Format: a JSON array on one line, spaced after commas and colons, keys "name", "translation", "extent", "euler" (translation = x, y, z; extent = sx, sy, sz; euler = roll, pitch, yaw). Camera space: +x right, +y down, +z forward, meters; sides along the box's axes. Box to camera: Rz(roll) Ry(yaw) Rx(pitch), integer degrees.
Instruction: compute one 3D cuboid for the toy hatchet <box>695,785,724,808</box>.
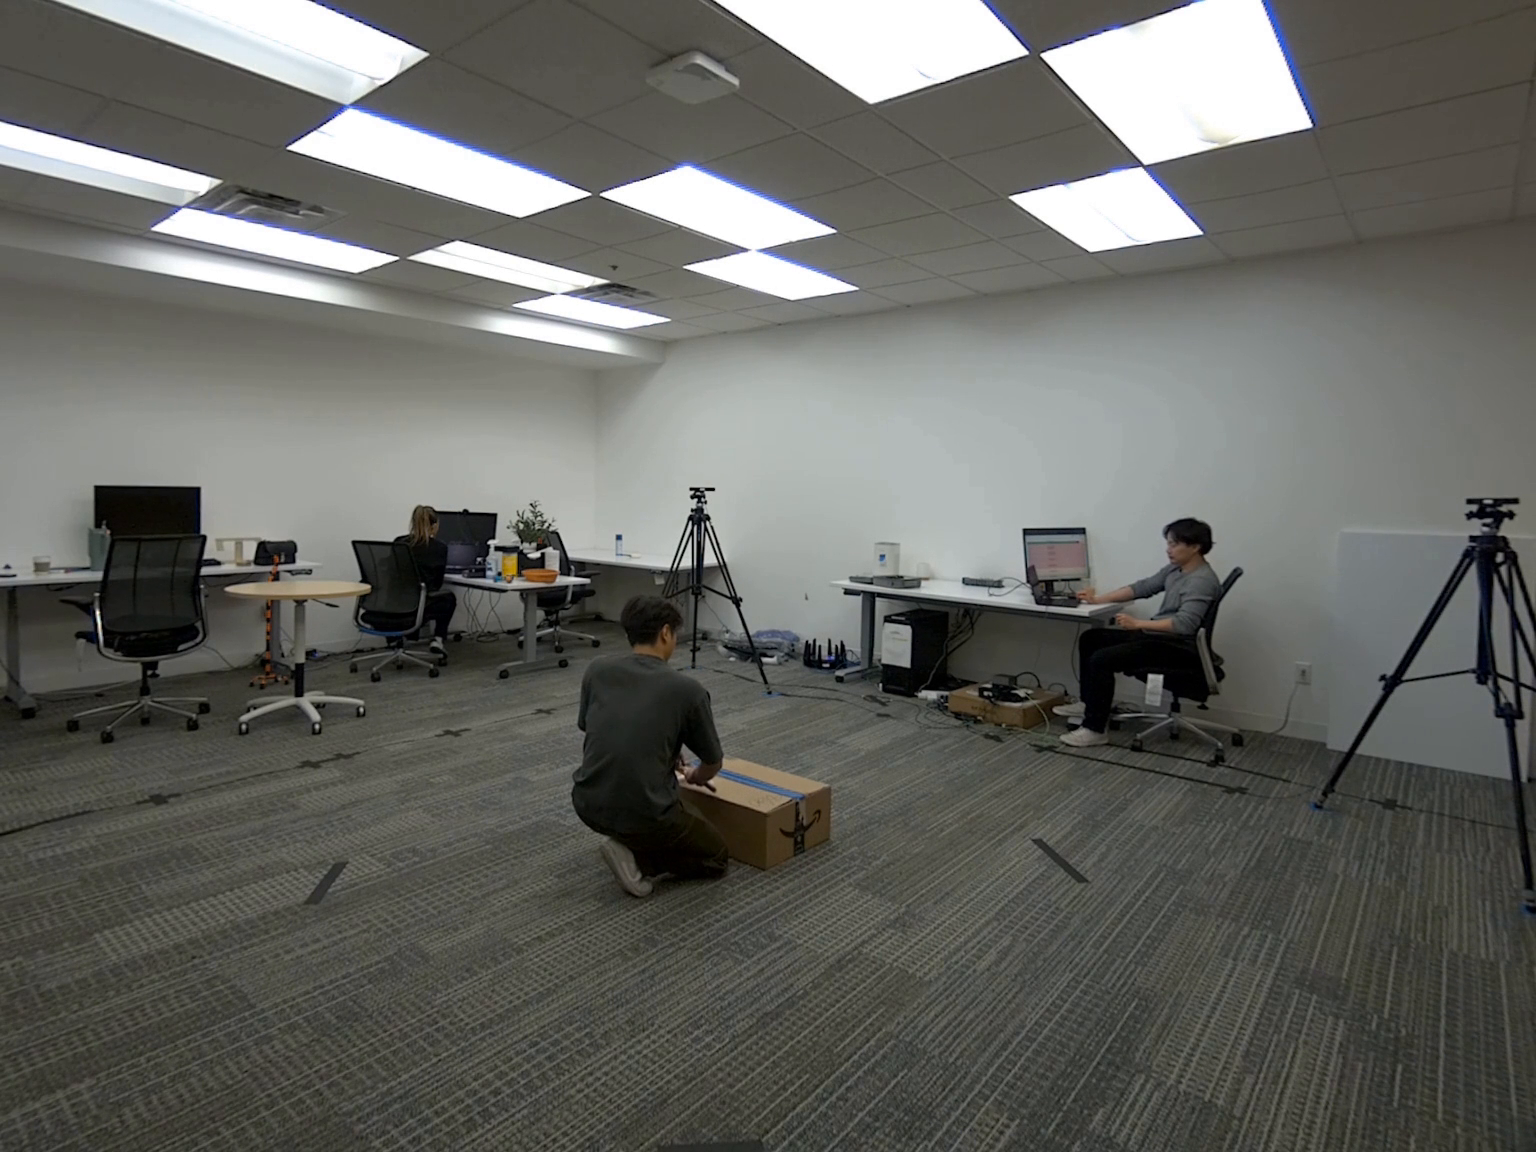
[{"name": "toy hatchet", "translation": [-0.301, 0.803, 3.340], "extent": [0.282, 0.029, 0.126], "euler": [31, -17, 42]}]
